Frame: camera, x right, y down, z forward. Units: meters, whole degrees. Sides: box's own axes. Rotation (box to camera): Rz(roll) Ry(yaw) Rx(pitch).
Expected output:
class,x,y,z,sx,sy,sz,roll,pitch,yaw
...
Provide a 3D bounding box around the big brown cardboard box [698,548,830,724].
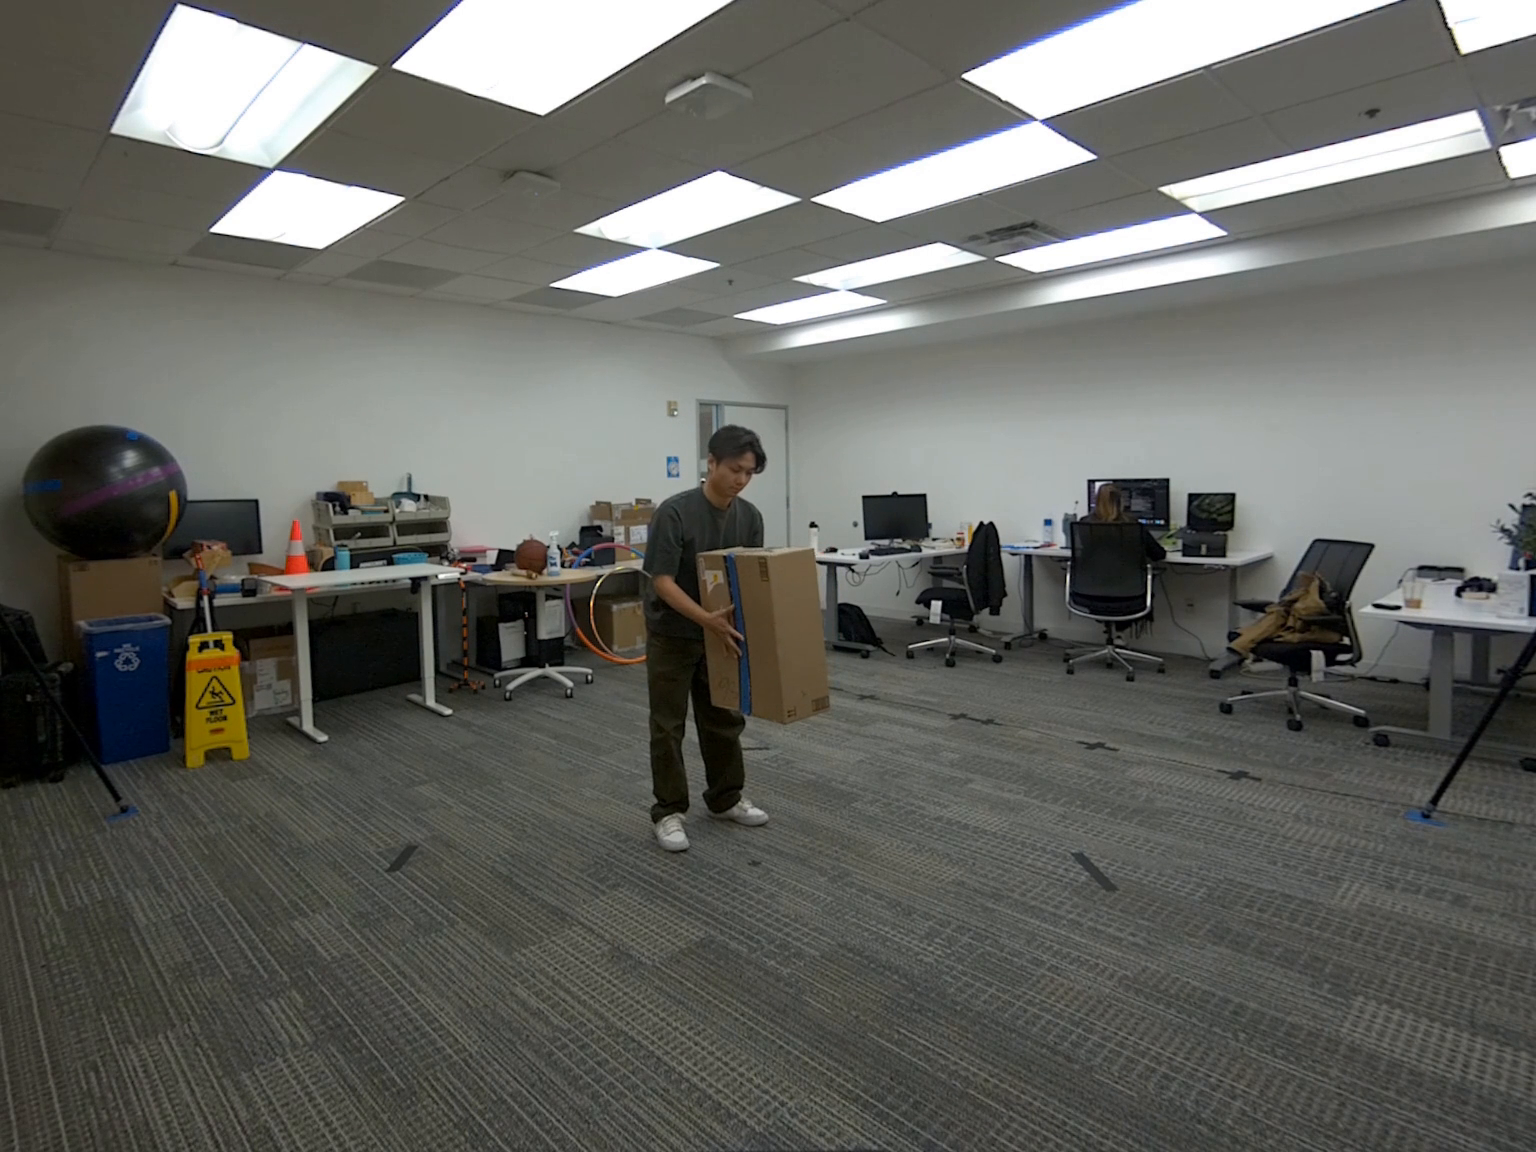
class,x,y,z,sx,sy,sz,roll,pitch,yaw
big brown cardboard box,-0.021,0.192,3.037,0.227,0.587,0.429,-9,5,-38
